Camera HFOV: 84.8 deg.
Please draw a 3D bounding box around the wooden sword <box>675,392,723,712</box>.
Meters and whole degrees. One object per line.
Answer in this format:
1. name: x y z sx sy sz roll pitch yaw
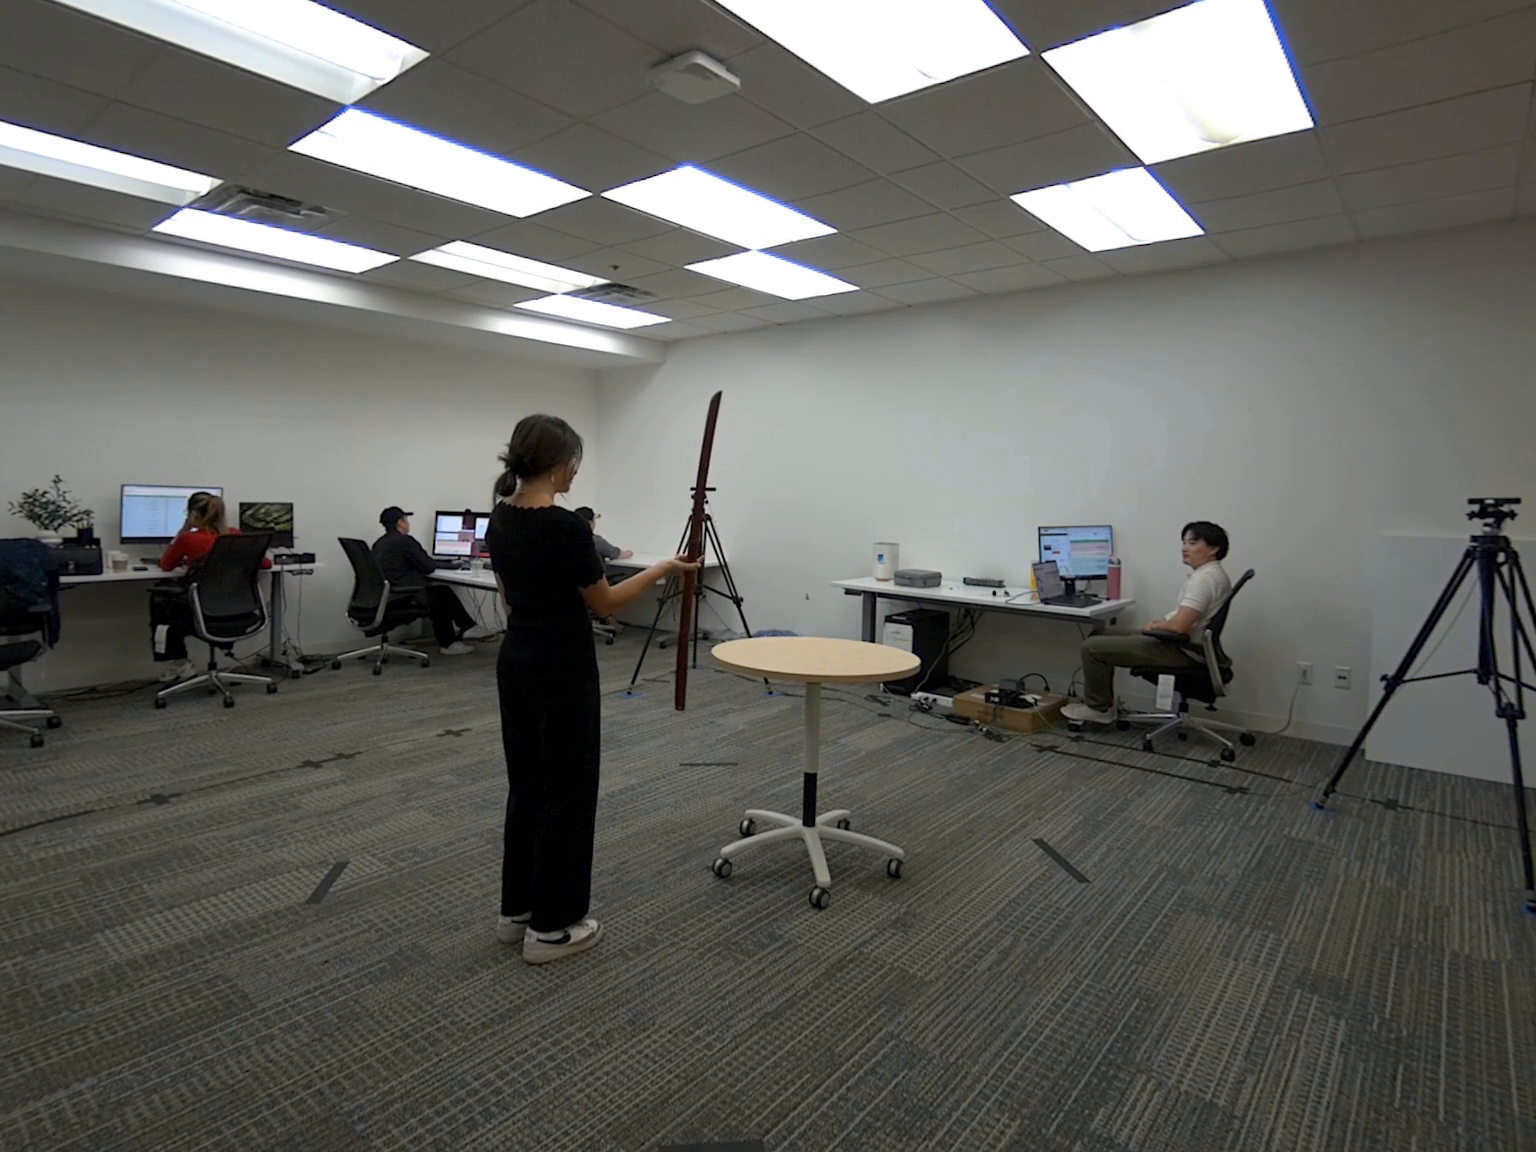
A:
1. wooden sword: -0.248 -0.072 2.649 0.025 1.015 0.050 14 12 20
